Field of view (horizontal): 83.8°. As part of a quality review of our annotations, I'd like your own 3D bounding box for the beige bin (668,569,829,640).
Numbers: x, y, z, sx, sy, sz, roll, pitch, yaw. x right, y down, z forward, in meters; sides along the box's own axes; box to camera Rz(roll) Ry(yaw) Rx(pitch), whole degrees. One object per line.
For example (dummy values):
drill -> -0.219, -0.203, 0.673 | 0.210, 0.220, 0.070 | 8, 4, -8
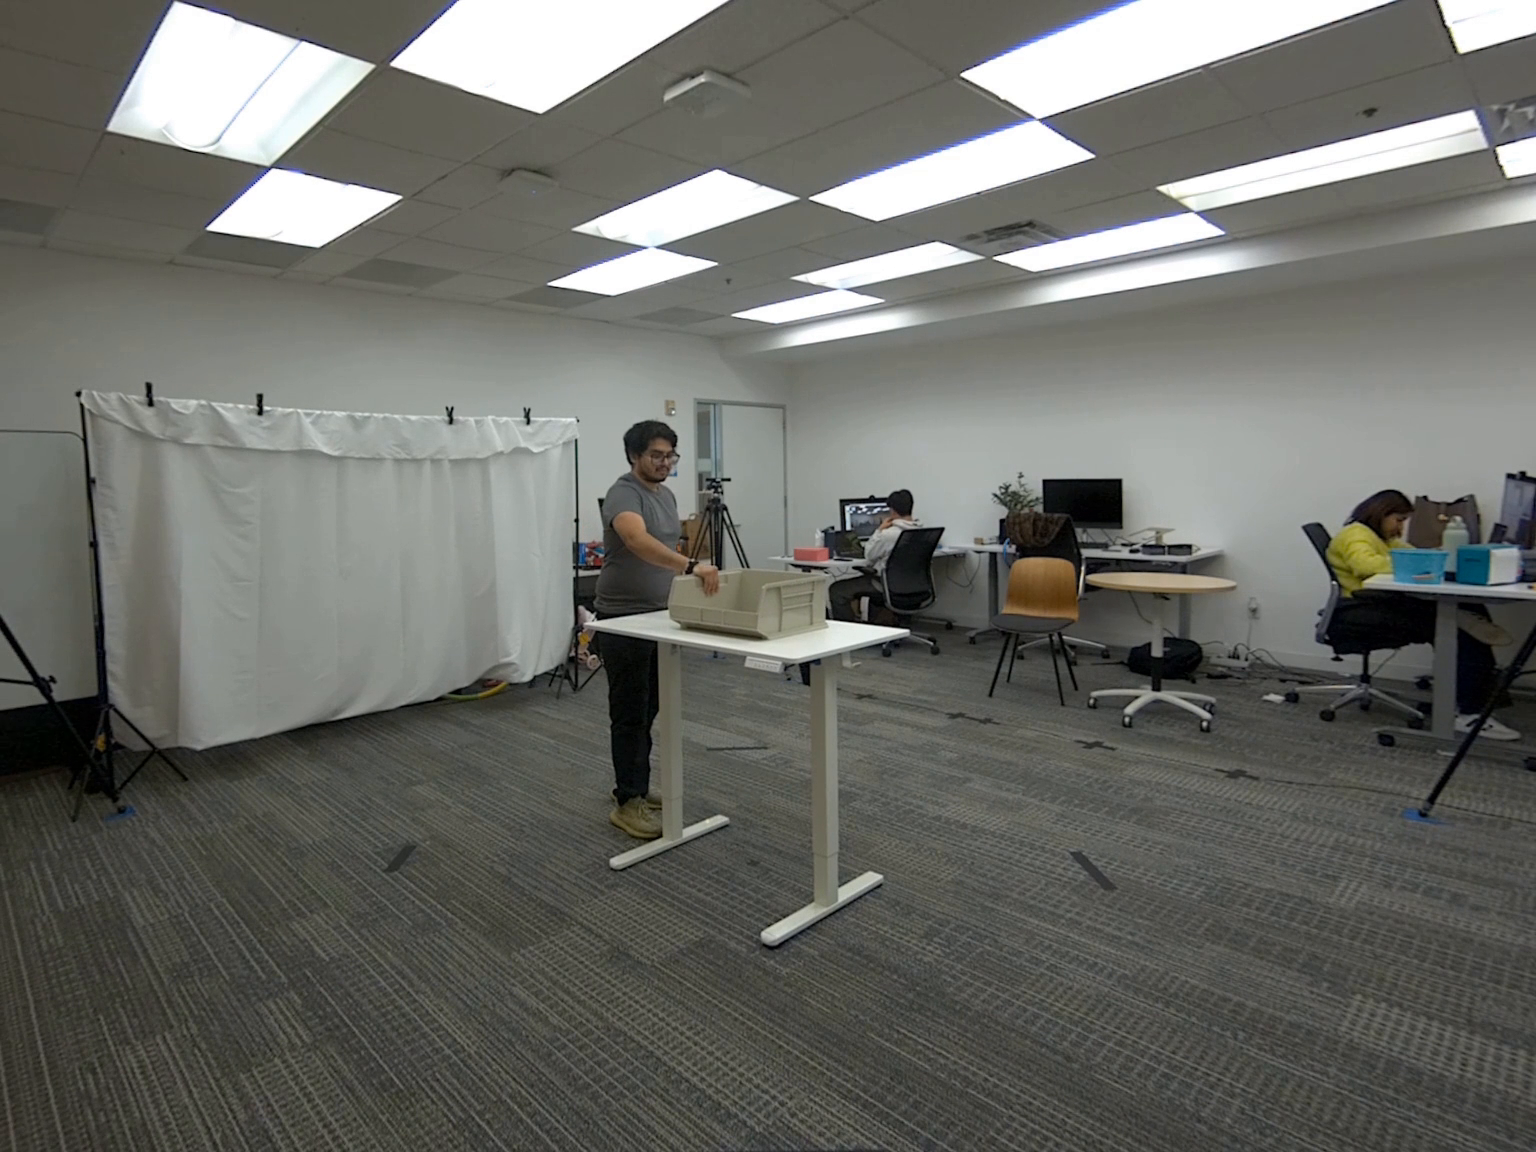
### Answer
beige bin -> -0.063, 0.090, 2.918 | 0.435, 0.188, 0.367 | 4, 5, 43
